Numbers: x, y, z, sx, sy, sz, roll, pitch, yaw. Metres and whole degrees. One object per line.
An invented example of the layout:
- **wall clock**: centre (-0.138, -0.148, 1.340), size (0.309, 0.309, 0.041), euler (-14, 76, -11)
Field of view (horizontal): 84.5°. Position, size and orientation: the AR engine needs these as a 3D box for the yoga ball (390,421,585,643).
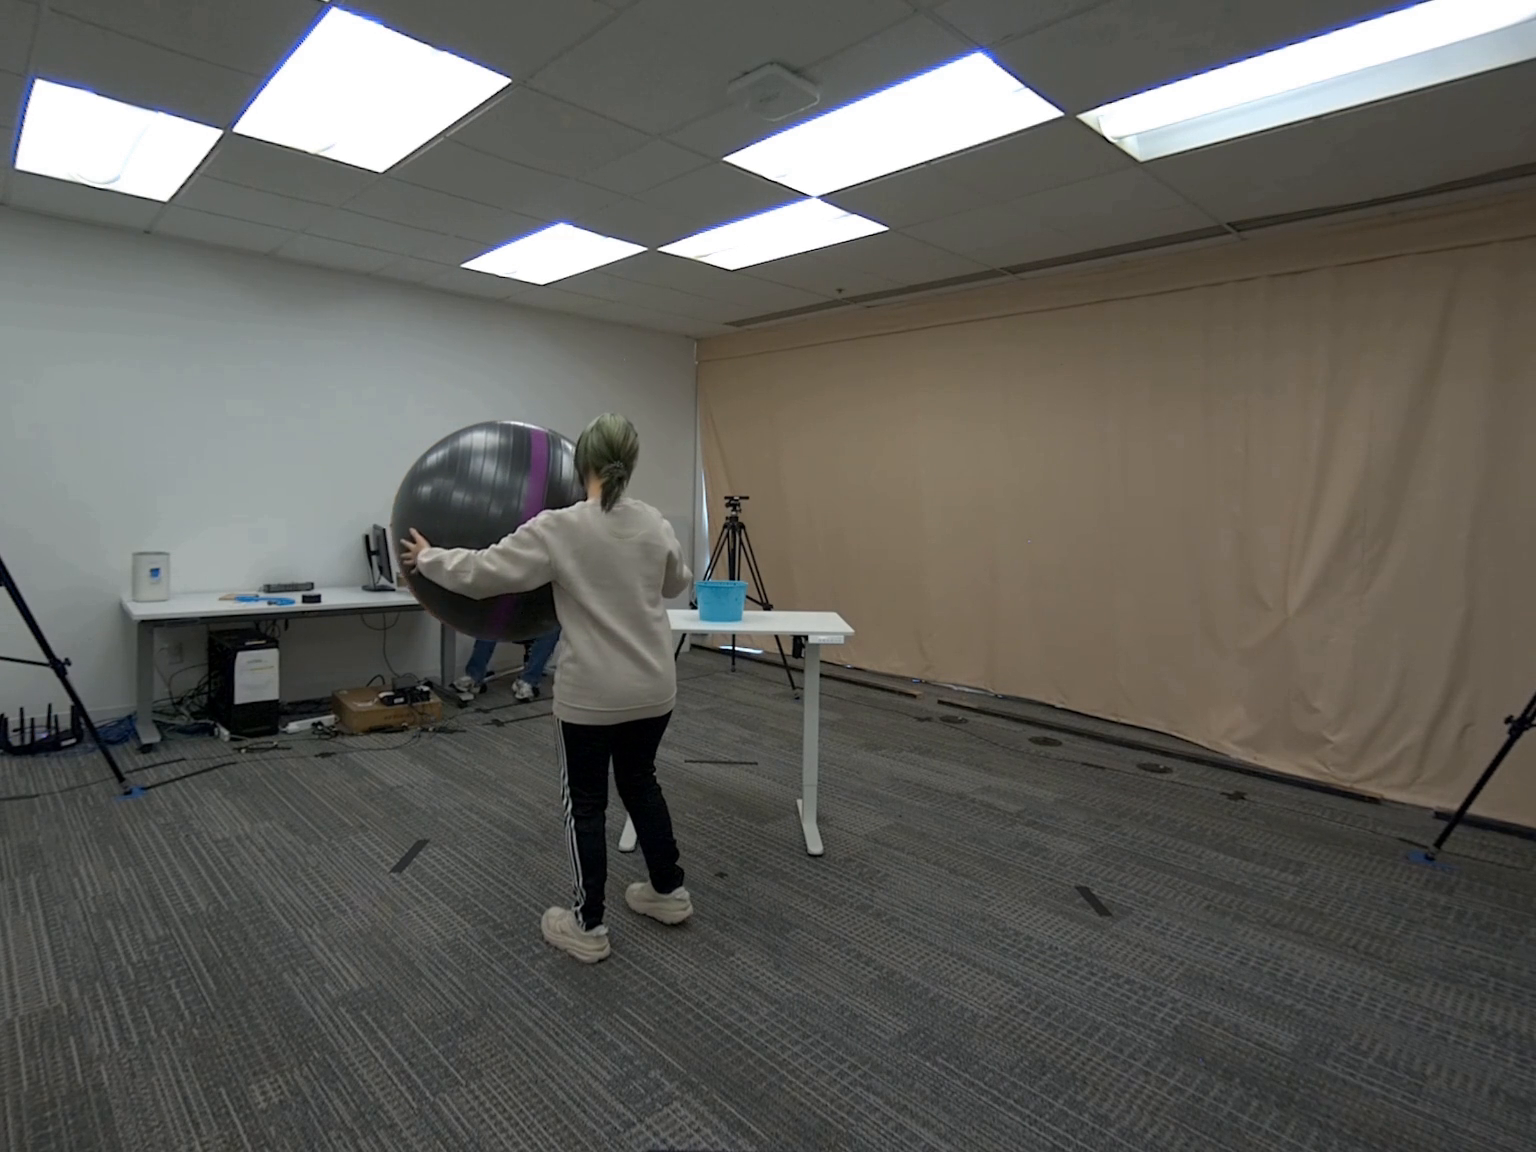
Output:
- **yoga ball**: centre (-0.908, -0.149, 2.915), size (0.757, 0.756, 0.761), euler (1, 4, -1)
